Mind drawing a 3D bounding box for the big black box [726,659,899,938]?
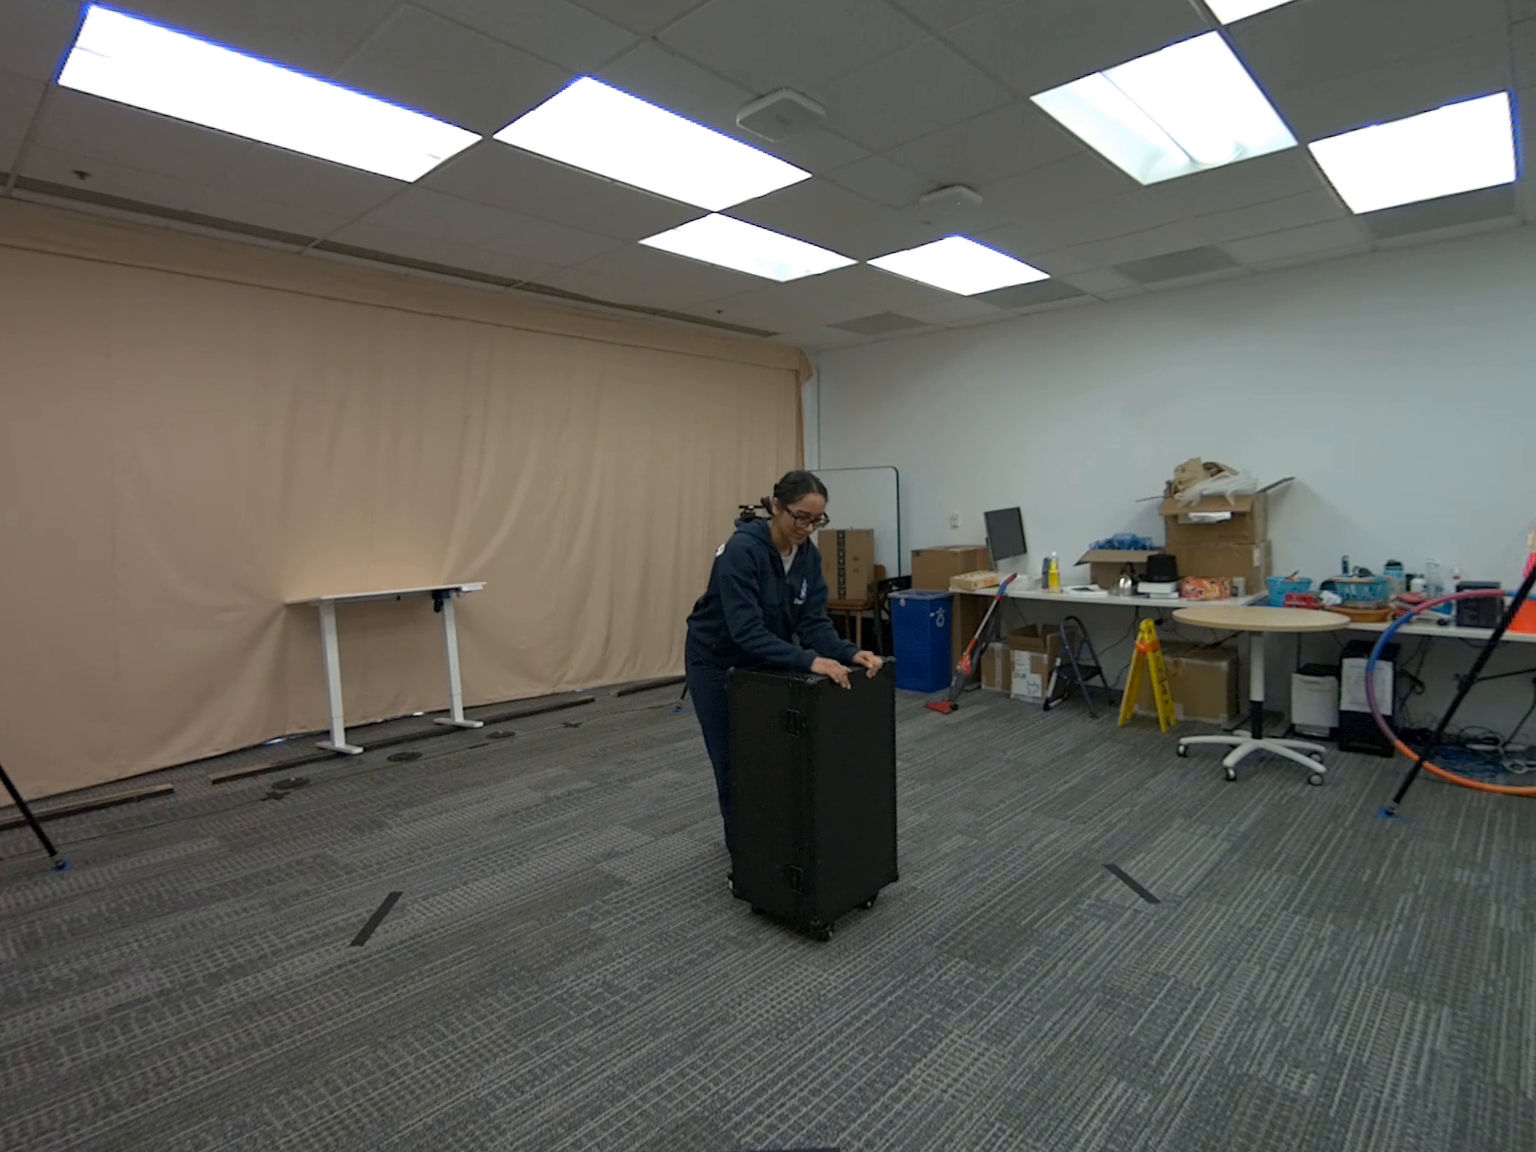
[{"bbox_3d":[0.159,0.724,2.879,0.409,0.859,0.506,1,5,42],"label":"big black box"}]
